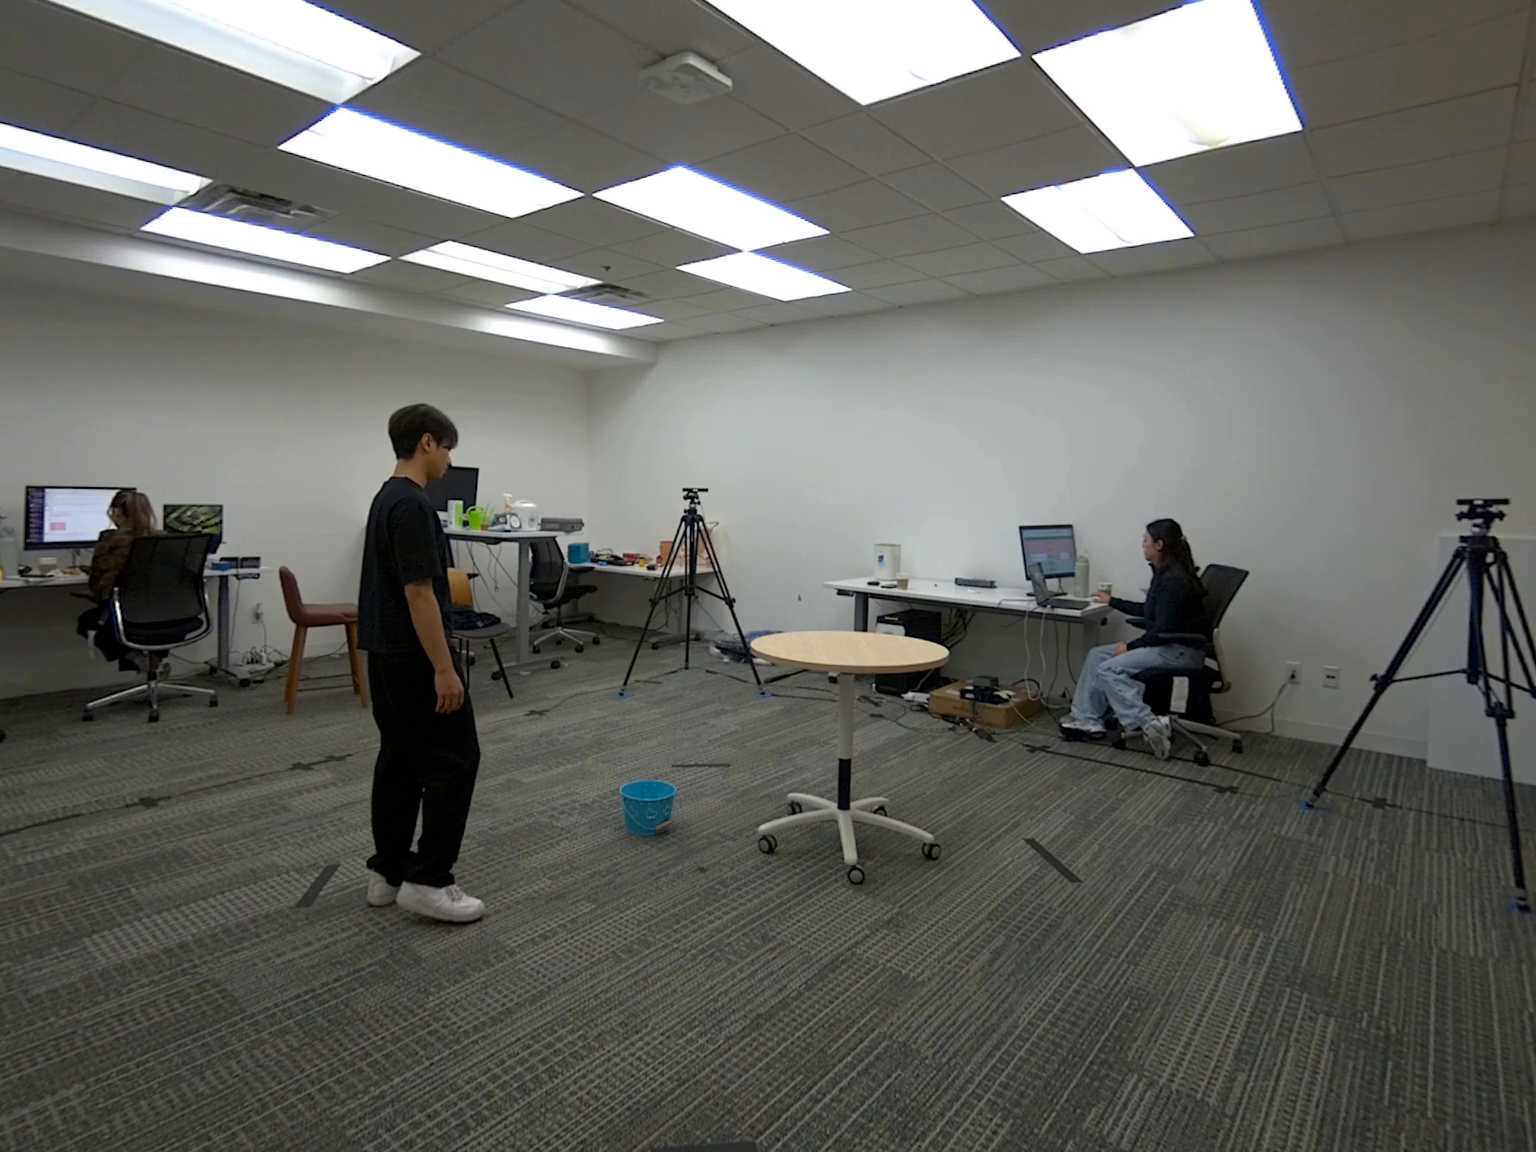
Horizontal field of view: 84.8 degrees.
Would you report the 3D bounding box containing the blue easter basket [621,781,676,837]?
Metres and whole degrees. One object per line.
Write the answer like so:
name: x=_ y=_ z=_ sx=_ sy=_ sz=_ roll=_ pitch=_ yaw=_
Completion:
blue easter basket: x=-0.506 y=0.949 z=3.493 sx=0.243 sy=0.155 sz=0.245 roll=0 pitch=5 yaw=-2
